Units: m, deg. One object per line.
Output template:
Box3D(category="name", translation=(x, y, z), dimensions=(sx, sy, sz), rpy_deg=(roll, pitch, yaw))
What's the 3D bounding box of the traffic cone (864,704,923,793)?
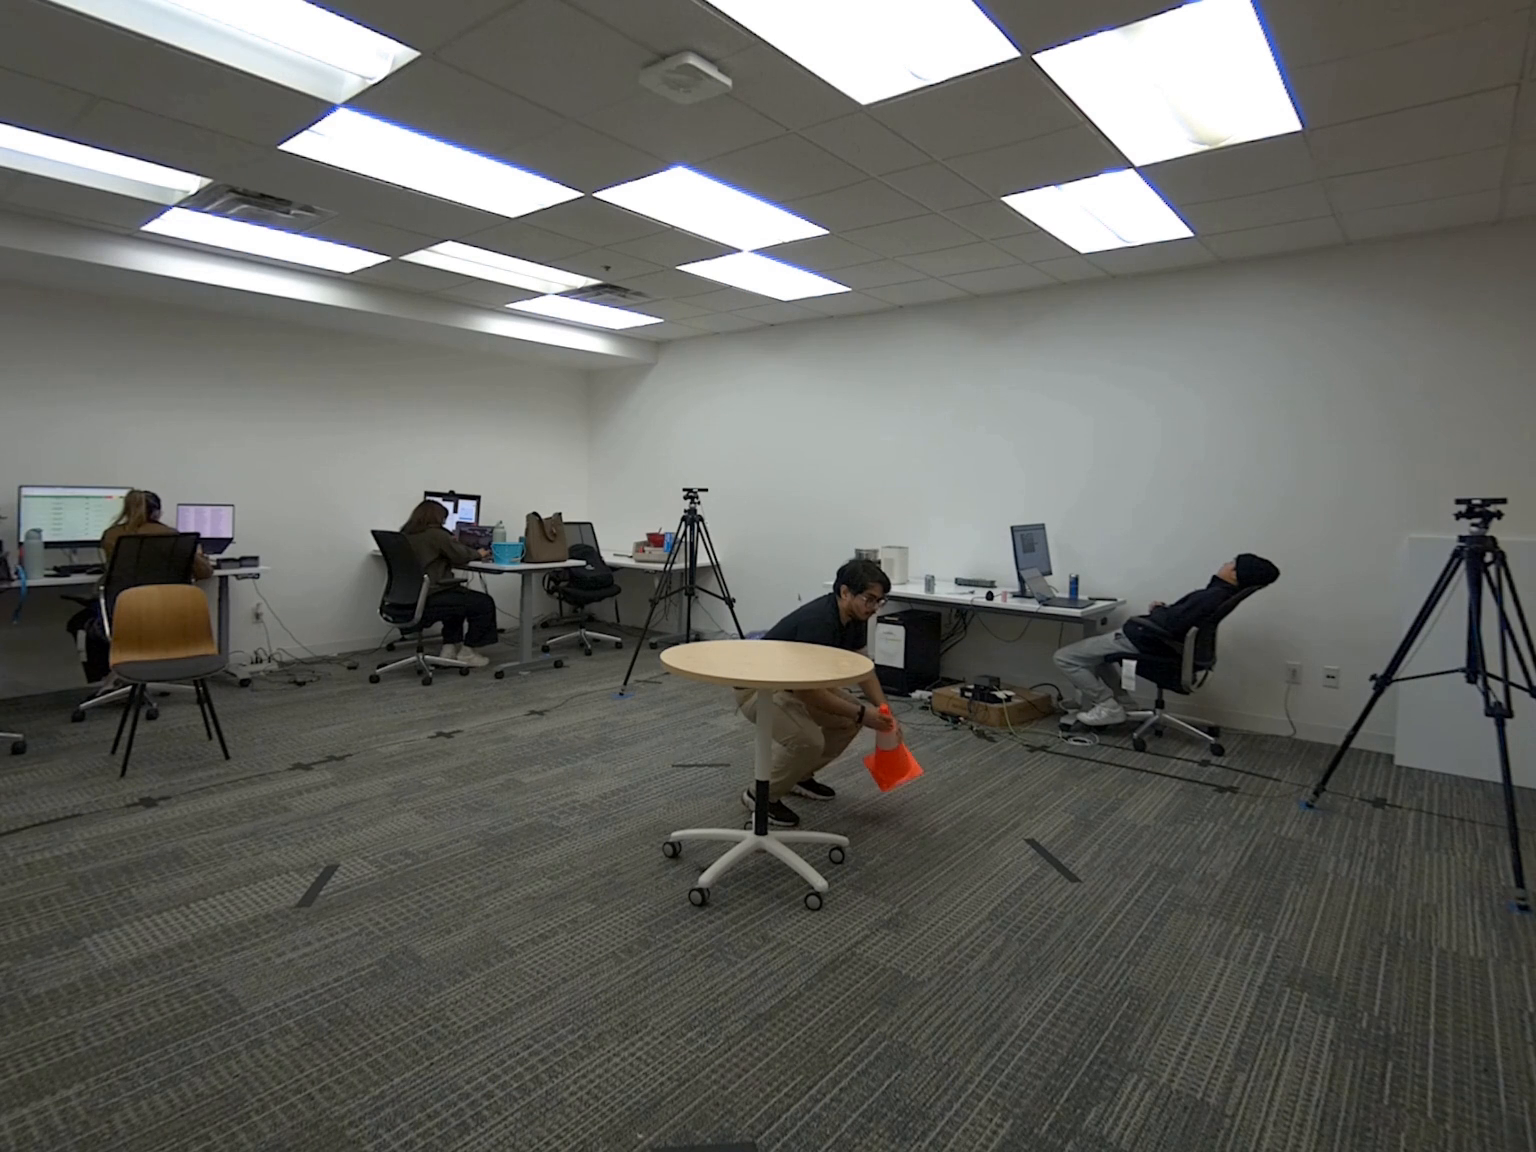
Box3D(category="traffic cone", translation=(0.489, 0.687, 3.563), dimensions=(0.202, 0.371, 0.213), rpy_deg=(-25, 36, -13))
